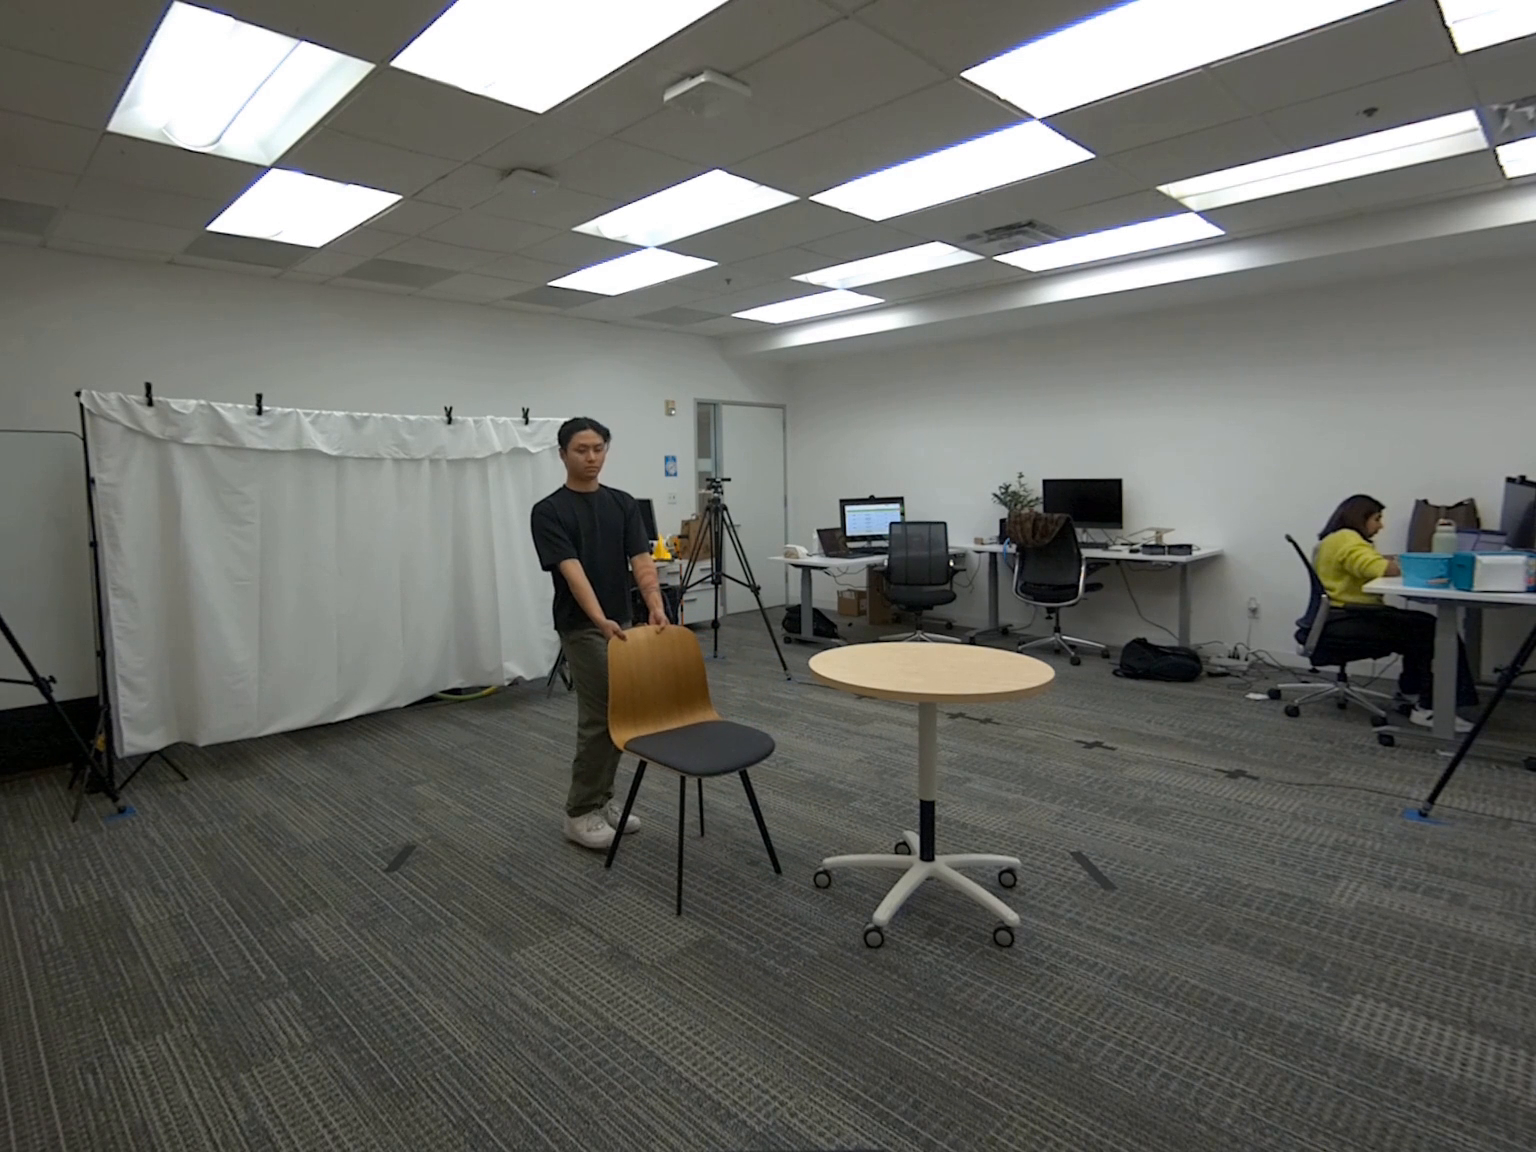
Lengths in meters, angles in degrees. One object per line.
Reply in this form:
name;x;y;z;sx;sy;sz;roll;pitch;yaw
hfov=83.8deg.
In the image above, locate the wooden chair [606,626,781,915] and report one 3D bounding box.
wooden chair;-0.268;0.631;3.005;0.465;0.877;0.537;-4;1;-40
